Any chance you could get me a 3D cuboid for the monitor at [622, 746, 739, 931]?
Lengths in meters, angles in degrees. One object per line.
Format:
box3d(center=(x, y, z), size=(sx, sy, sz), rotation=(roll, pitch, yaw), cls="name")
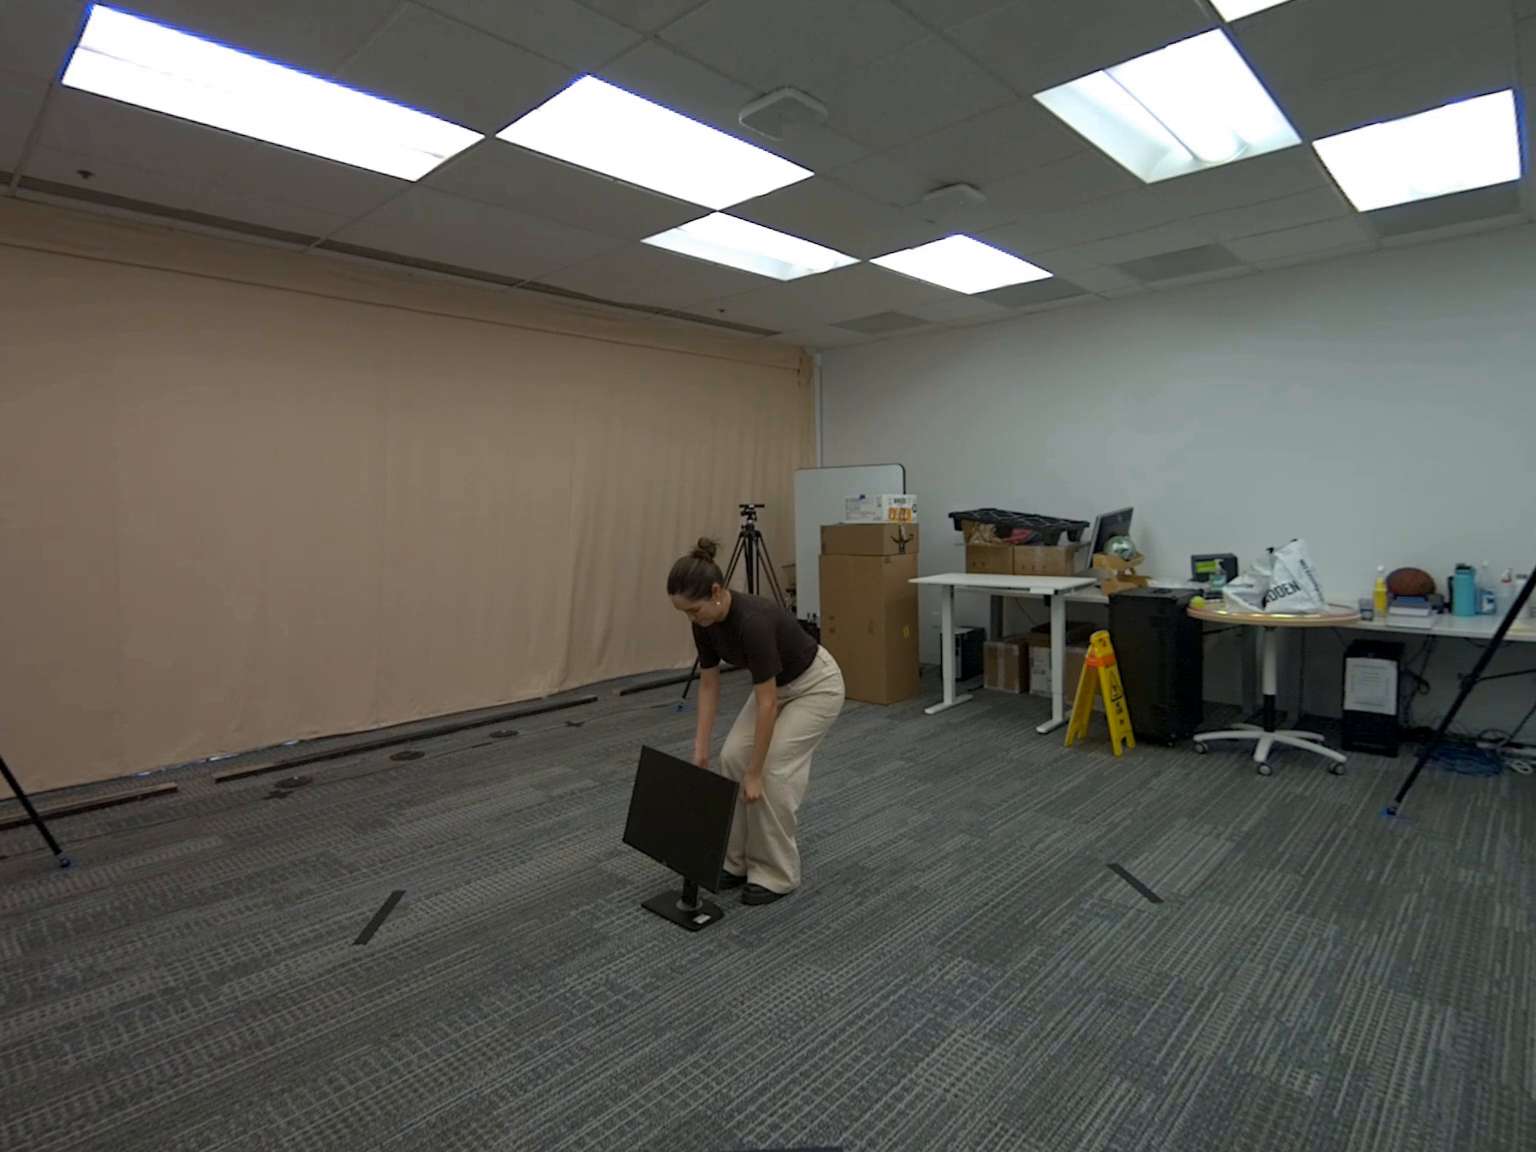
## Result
box3d(center=(-0.282, 0.902, 2.895), size=(0.181, 0.522, 0.557), rotation=(-2, 3, -45), cls="monitor")
